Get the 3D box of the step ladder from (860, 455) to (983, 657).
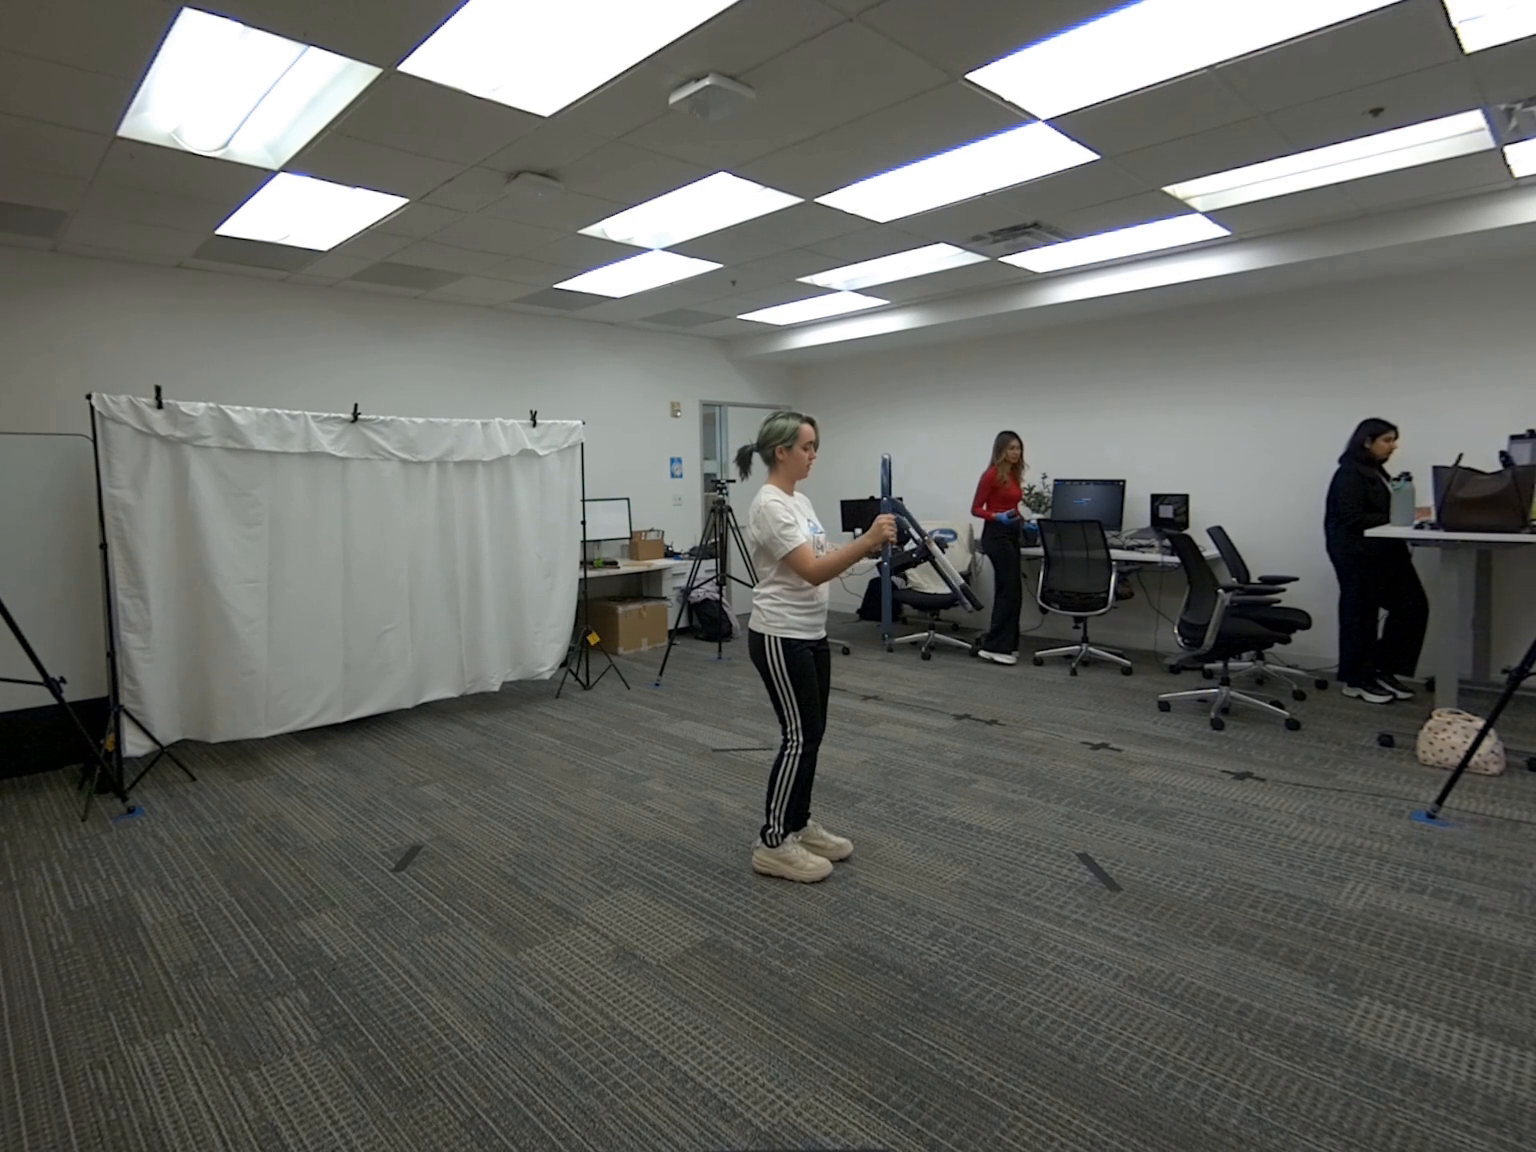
[{"bbox_3d":[0.454,-0.105,2.968,0.351,0.612,0.424,-21,-8,9],"label":"step ladder"}]
